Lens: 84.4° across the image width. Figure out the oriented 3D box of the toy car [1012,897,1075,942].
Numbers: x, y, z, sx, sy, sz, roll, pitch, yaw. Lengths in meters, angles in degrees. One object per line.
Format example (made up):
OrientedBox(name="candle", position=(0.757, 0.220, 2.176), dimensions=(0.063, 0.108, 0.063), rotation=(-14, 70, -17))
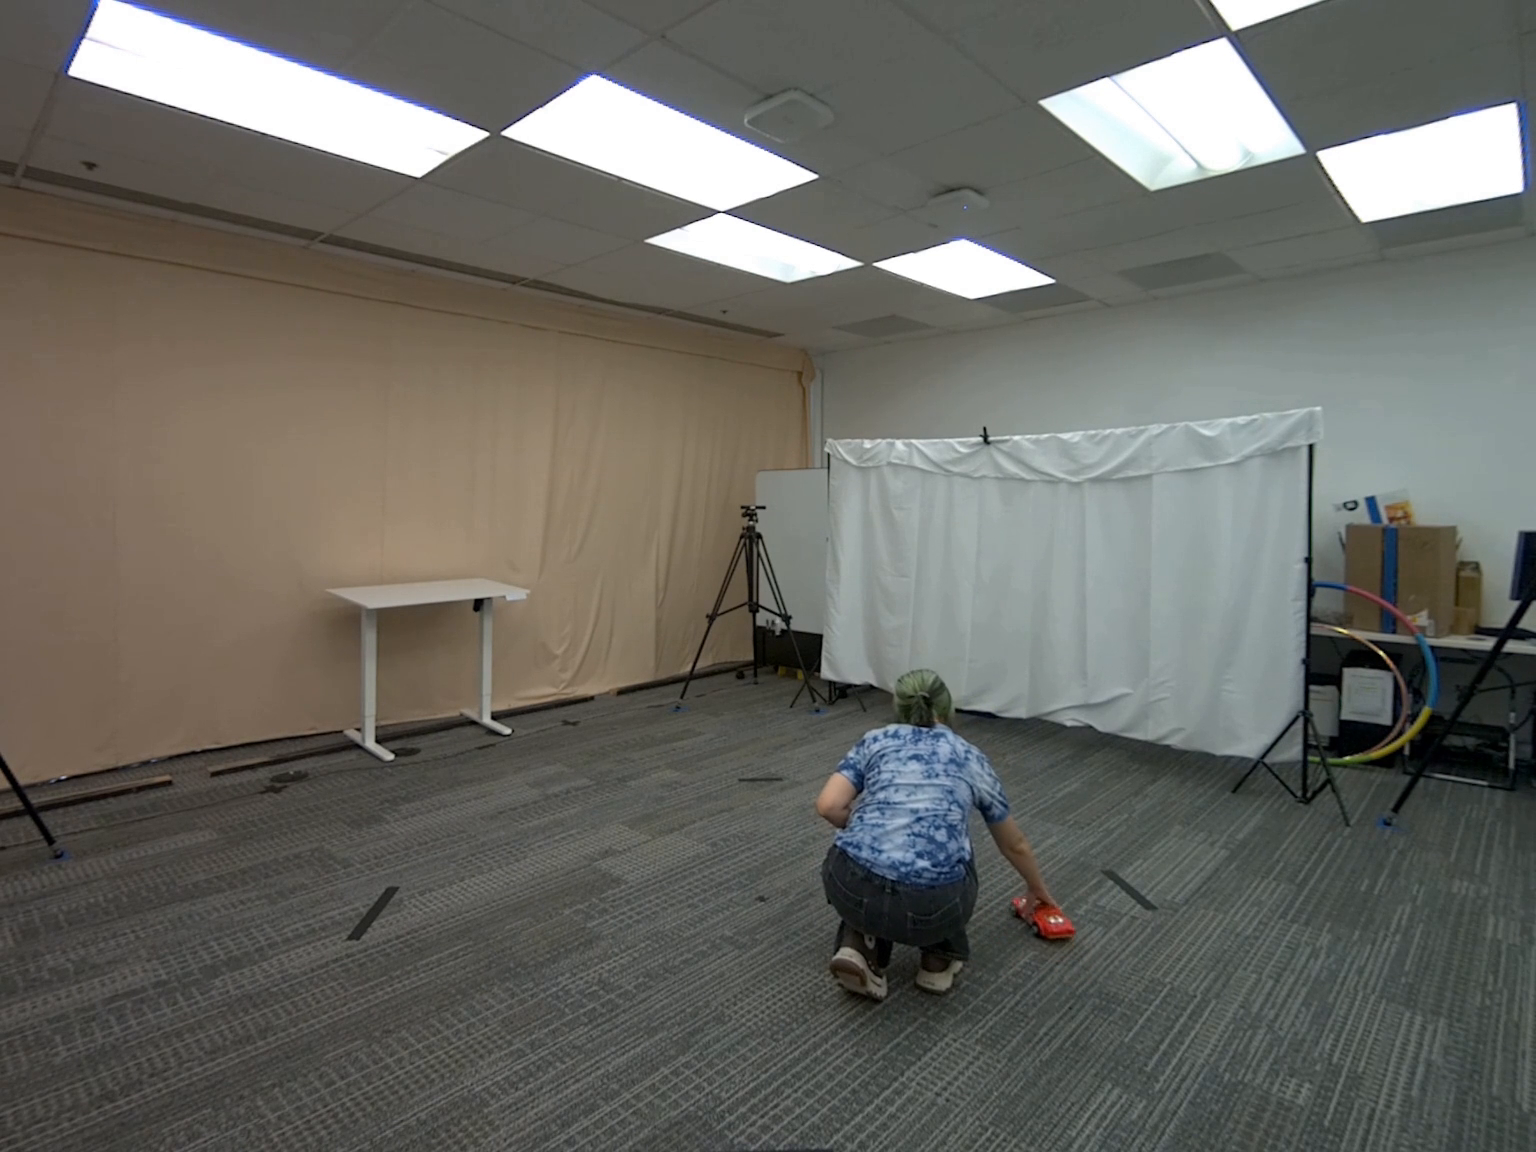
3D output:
OrientedBox(name="toy car", position=(0.909, 1.131, 2.768), dimensions=(0.129, 0.083, 0.256), rotation=(0, -5, -12))
